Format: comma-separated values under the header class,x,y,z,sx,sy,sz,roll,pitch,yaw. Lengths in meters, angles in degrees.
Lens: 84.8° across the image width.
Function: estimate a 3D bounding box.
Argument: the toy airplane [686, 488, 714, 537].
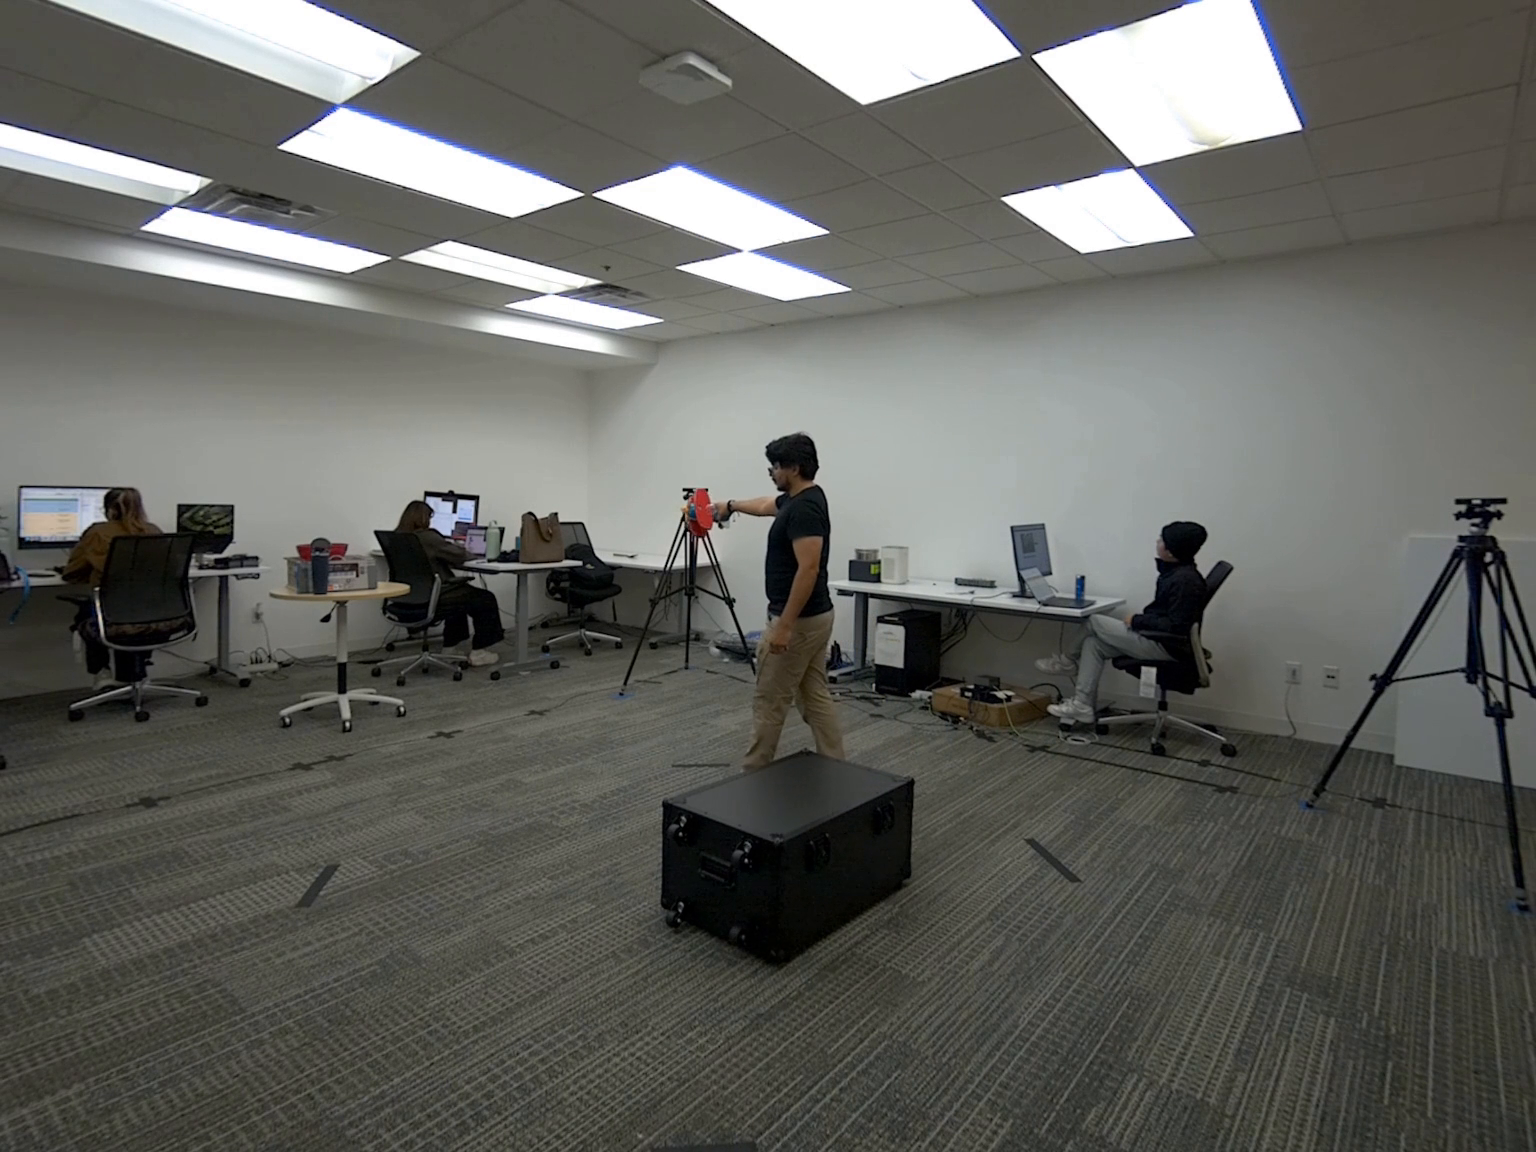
class,x,y,z,sx,sy,sz,roll,pitch,yaw
toy airplane,-0.333,-0.337,4.401,0.256,0.258,0.154,-27,-23,-29
